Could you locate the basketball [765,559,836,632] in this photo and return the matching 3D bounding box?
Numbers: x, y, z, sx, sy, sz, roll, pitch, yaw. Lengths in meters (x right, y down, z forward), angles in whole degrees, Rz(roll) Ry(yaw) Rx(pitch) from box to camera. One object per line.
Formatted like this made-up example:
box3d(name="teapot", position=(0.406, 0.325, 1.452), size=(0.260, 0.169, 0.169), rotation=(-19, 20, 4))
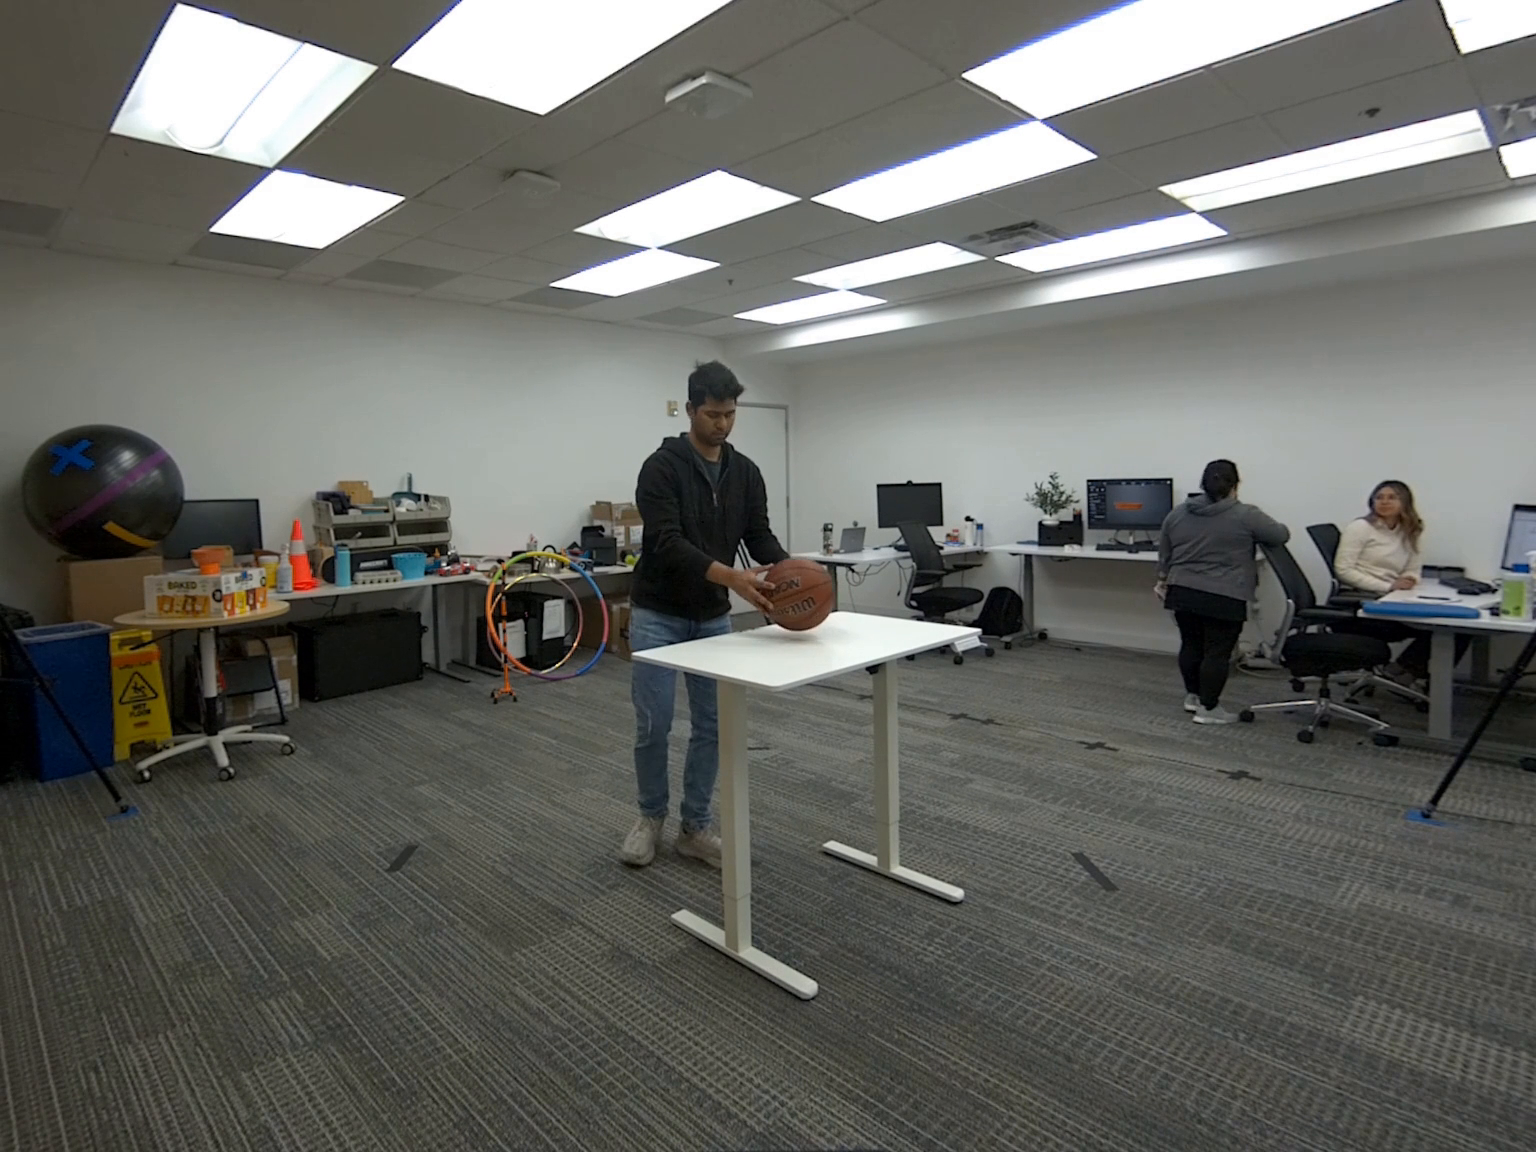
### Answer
box3d(name="basketball", position=(0.081, 0.055, 2.759), size=(0.236, 0.235, 0.237), rotation=(-1, 5, -2))
